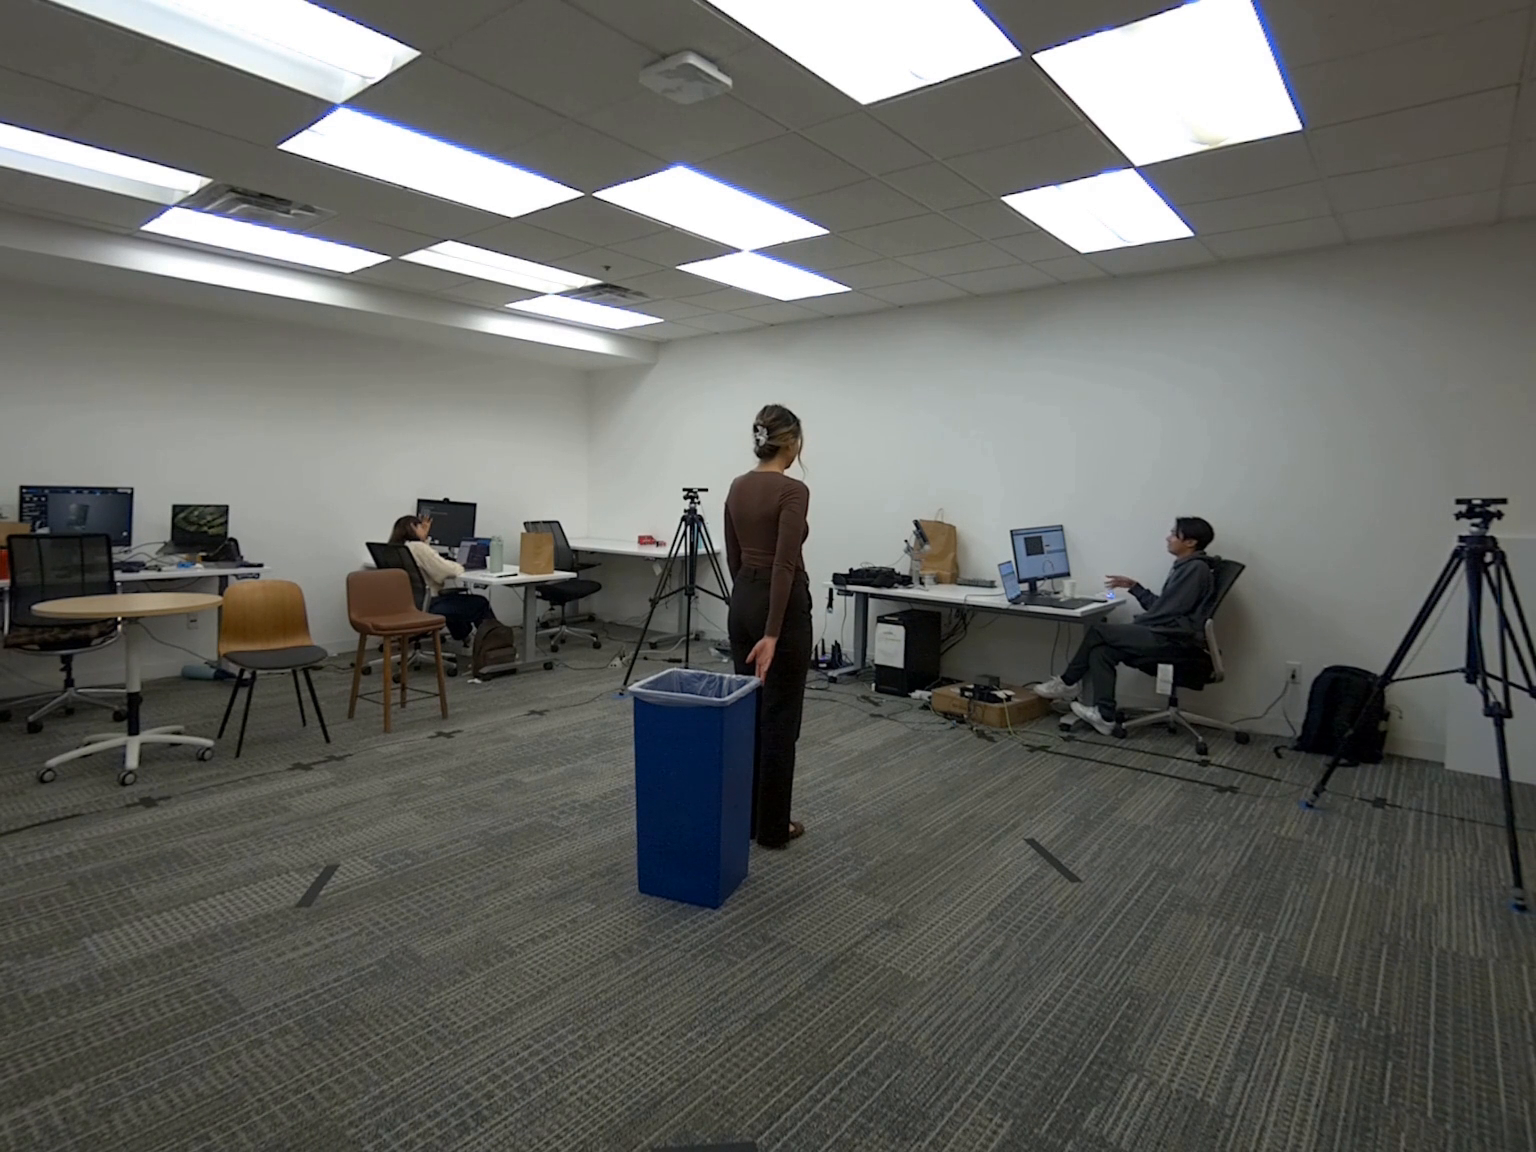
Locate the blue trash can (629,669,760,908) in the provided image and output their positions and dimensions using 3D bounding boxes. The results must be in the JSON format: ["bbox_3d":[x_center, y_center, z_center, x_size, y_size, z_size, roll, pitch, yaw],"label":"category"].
[{"bbox_3d":[-0.259,0.721,2.986,0.382,0.712,0.371,1,3,20],"label":"blue trash can"}]
